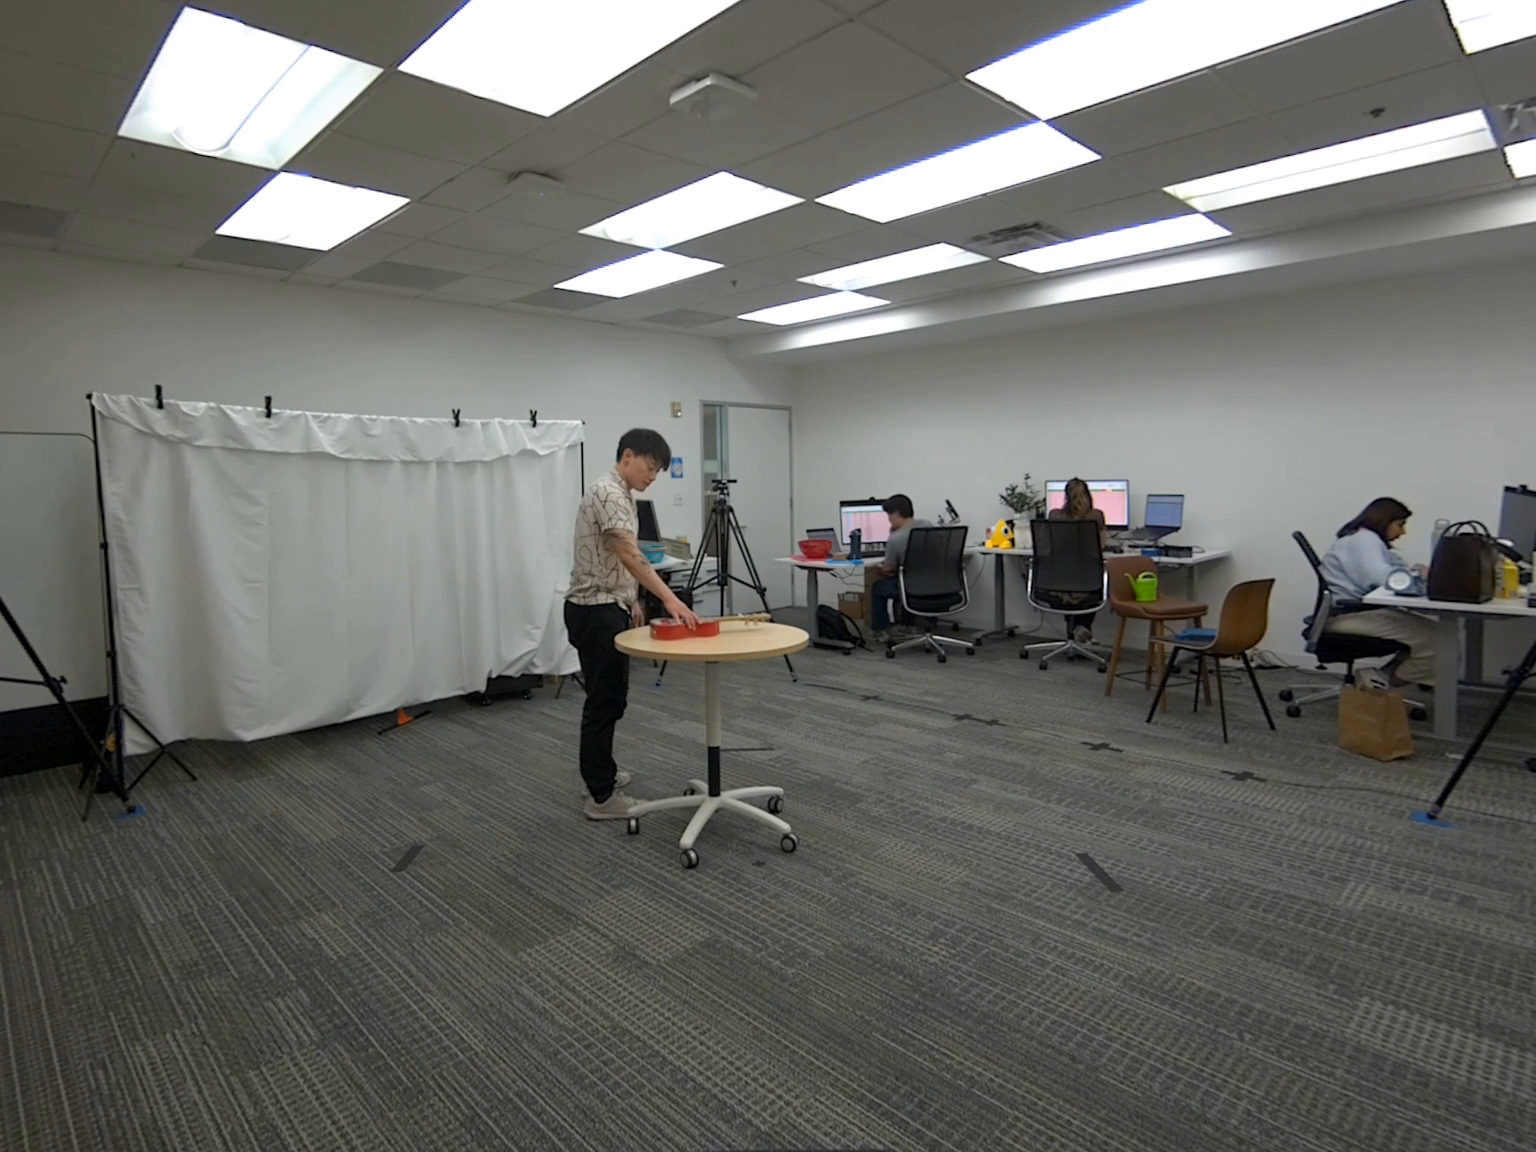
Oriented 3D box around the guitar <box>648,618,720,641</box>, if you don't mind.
[{"bbox_3d":[-0.223,0.199,3.405,0.494,0.070,0.195,-2,5,-8],"label":"guitar"}]
